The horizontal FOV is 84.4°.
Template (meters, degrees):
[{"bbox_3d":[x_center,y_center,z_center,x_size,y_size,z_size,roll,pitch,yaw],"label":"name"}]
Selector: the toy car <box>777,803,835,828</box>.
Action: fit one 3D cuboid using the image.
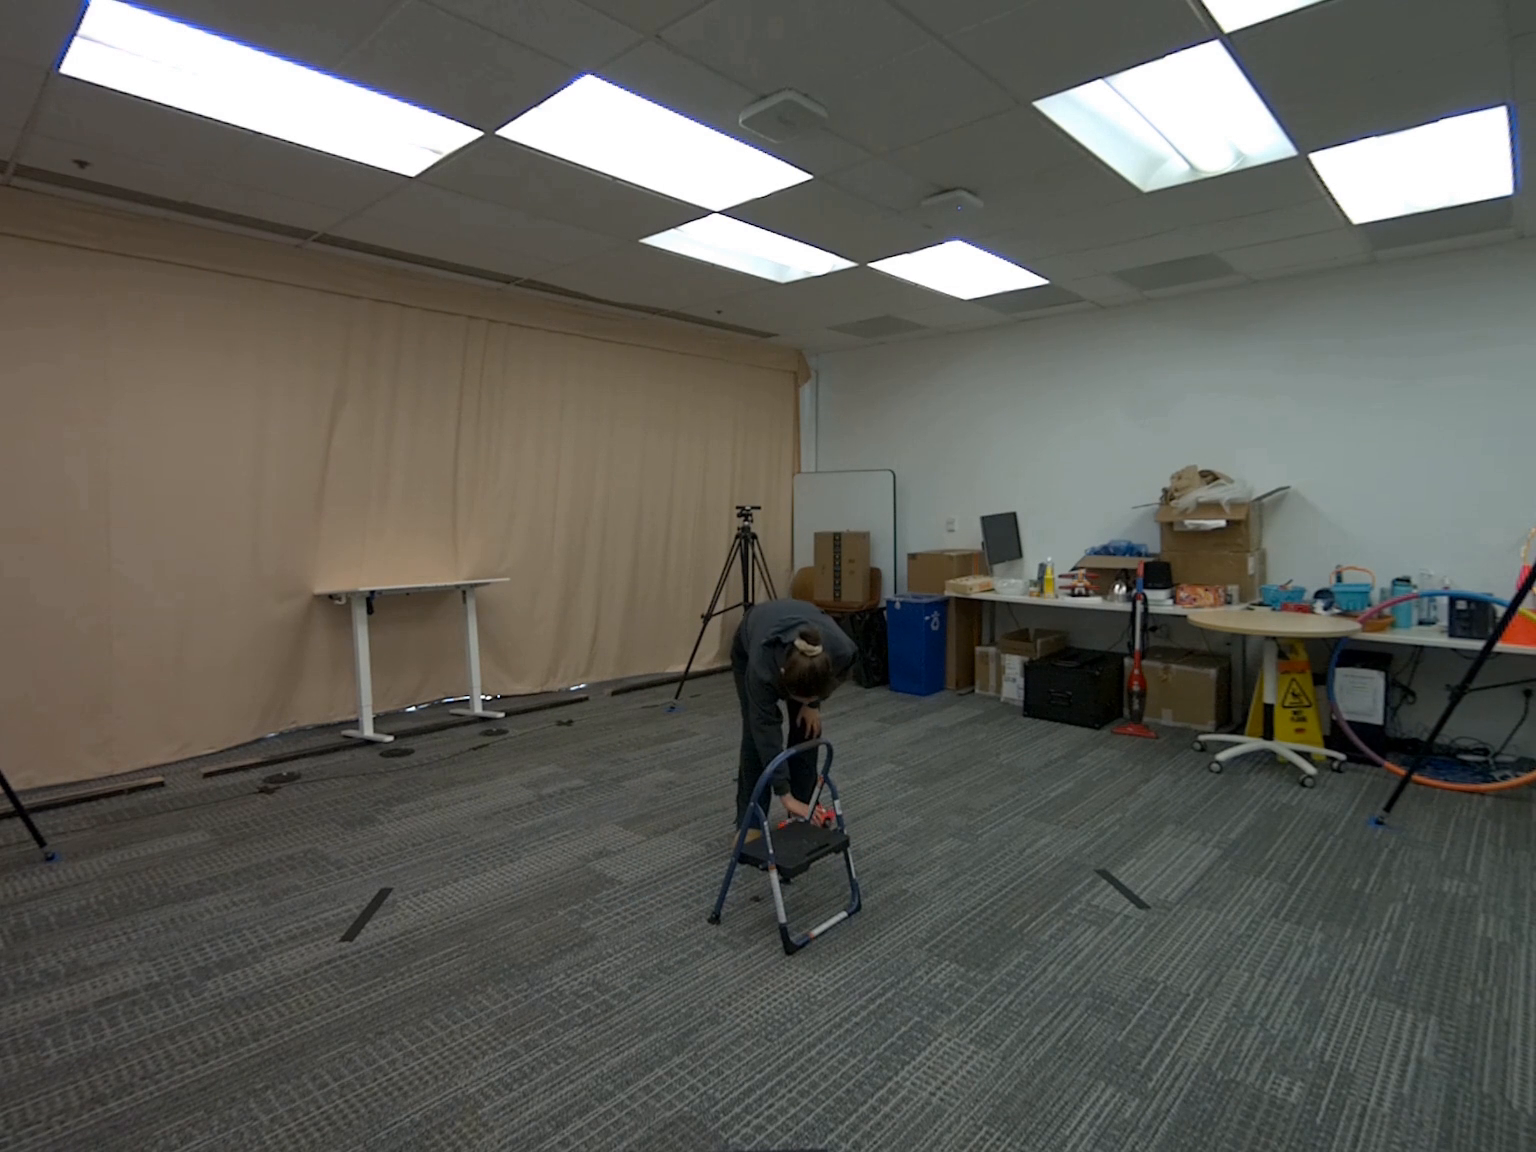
[{"bbox_3d":[0.168,0.937,3.219,0.134,0.083,0.248,-7,8,46],"label":"toy car"}]
